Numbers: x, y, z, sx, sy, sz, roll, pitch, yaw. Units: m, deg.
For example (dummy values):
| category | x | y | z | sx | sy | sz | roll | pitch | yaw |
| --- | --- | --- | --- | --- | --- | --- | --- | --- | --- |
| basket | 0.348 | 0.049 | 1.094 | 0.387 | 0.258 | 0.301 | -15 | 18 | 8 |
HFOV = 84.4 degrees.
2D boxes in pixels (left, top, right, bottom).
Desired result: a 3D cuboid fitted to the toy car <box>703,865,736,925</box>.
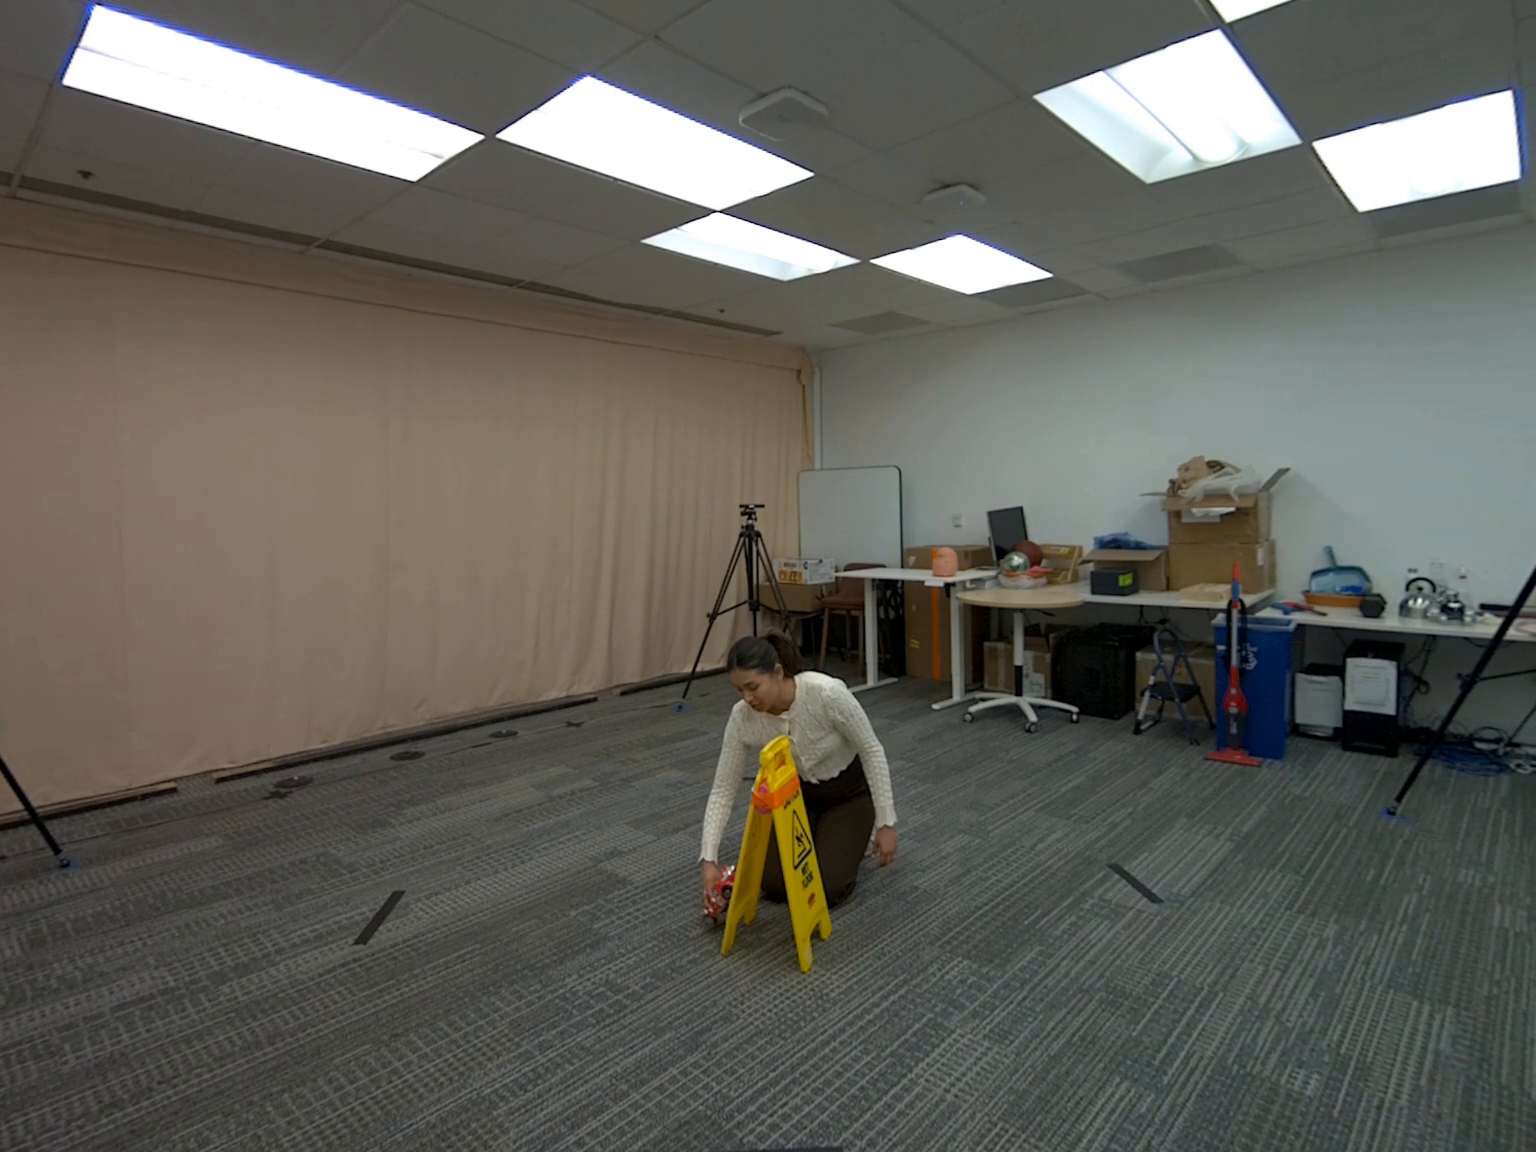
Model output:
| category | x | y | z | sx | sy | sz | roll | pitch | yaw |
| --- | --- | --- | --- | --- | --- | --- | --- | --- | --- |
| toy car | -0.139 | 1.032 | 2.755 | 0.085 | 0.253 | 0.128 | 20 | 14 | 16 |
